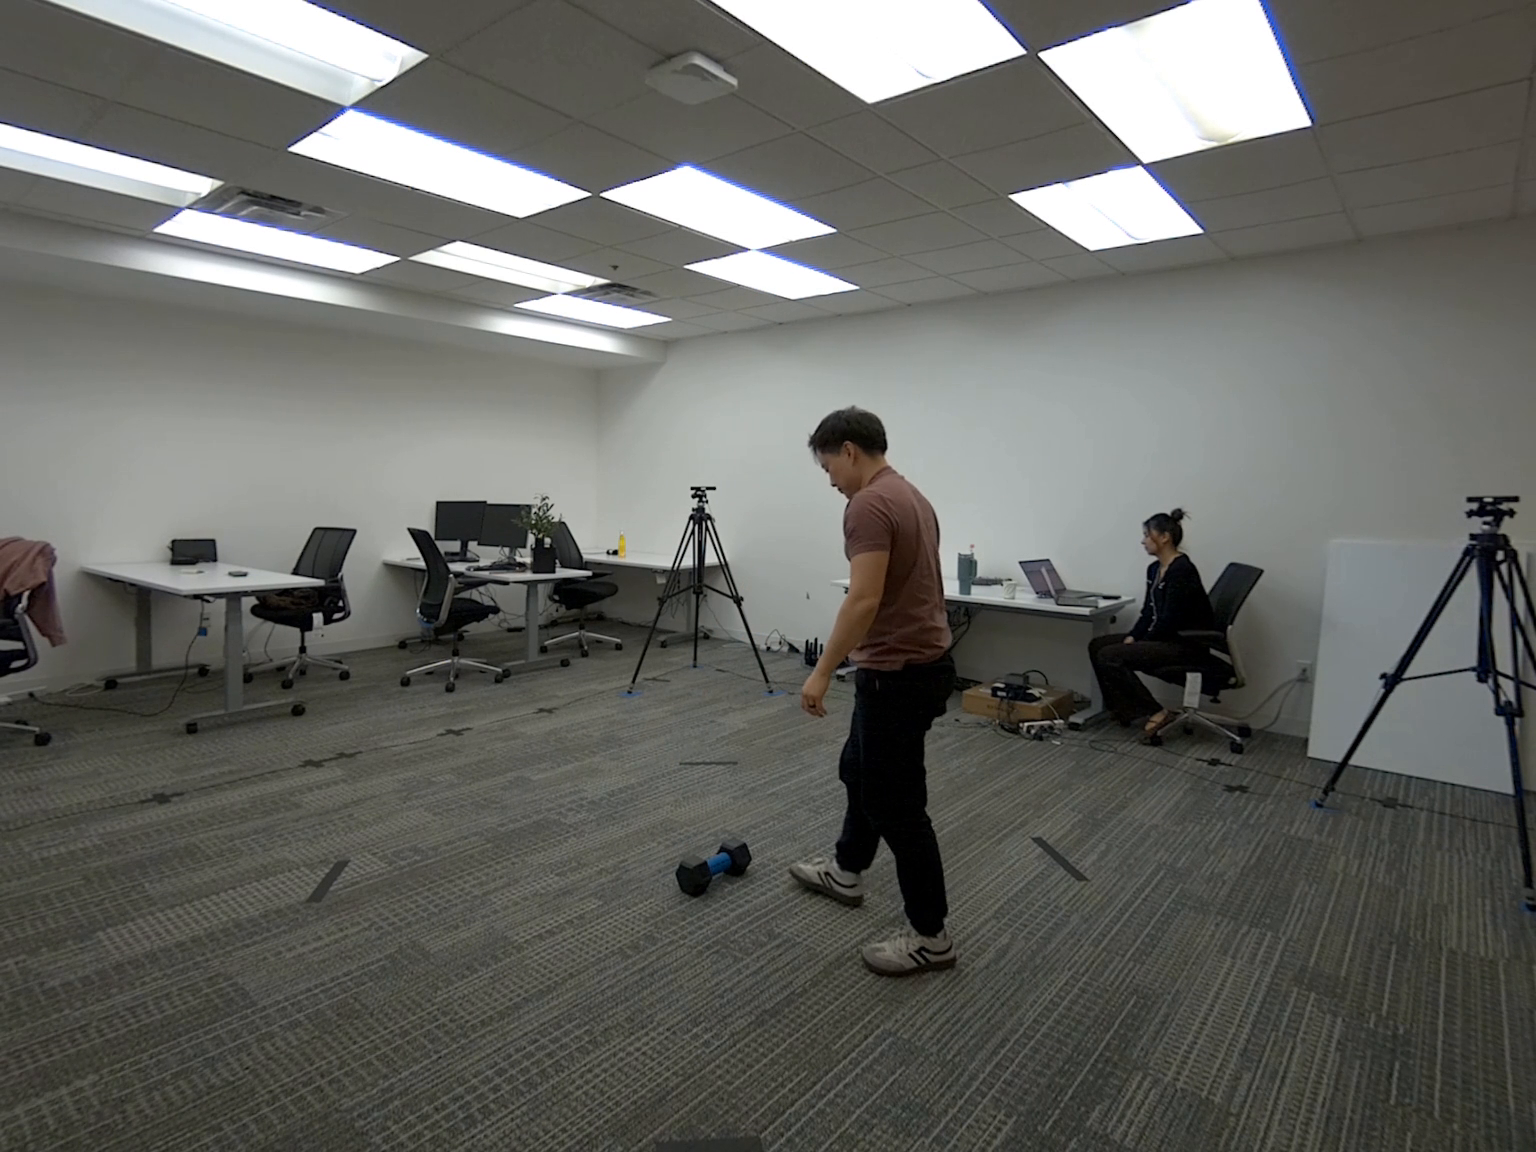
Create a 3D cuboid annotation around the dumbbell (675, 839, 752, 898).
[{"bbox_3d":[-0.197,1.021,3.004,0.113,0.122,0.285,38,26,32],"label":"dumbbell"}]
